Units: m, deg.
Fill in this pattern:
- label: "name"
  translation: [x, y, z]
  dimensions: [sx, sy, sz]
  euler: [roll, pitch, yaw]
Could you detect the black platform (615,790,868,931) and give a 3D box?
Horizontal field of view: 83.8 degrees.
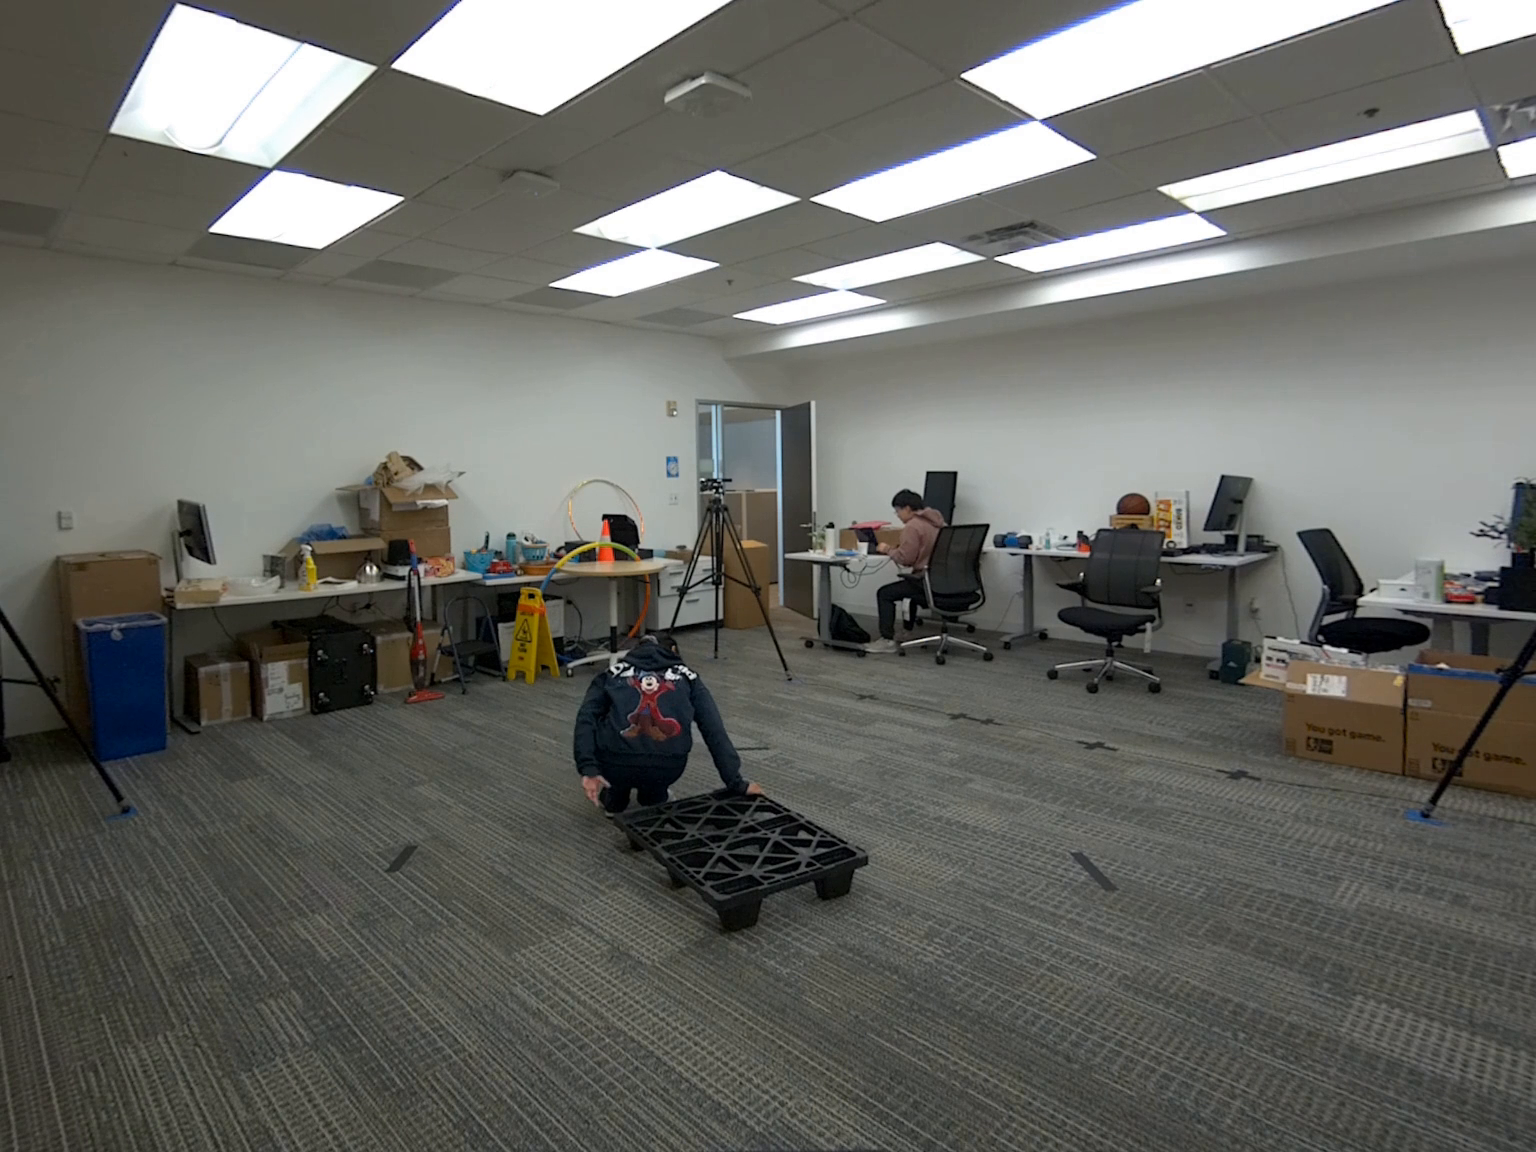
- label: "black platform"
  translation: [-0.118, 0.984, 3.049]
  dimensions: [0.591, 0.142, 0.829]
  euler: [-6, 8, -32]
